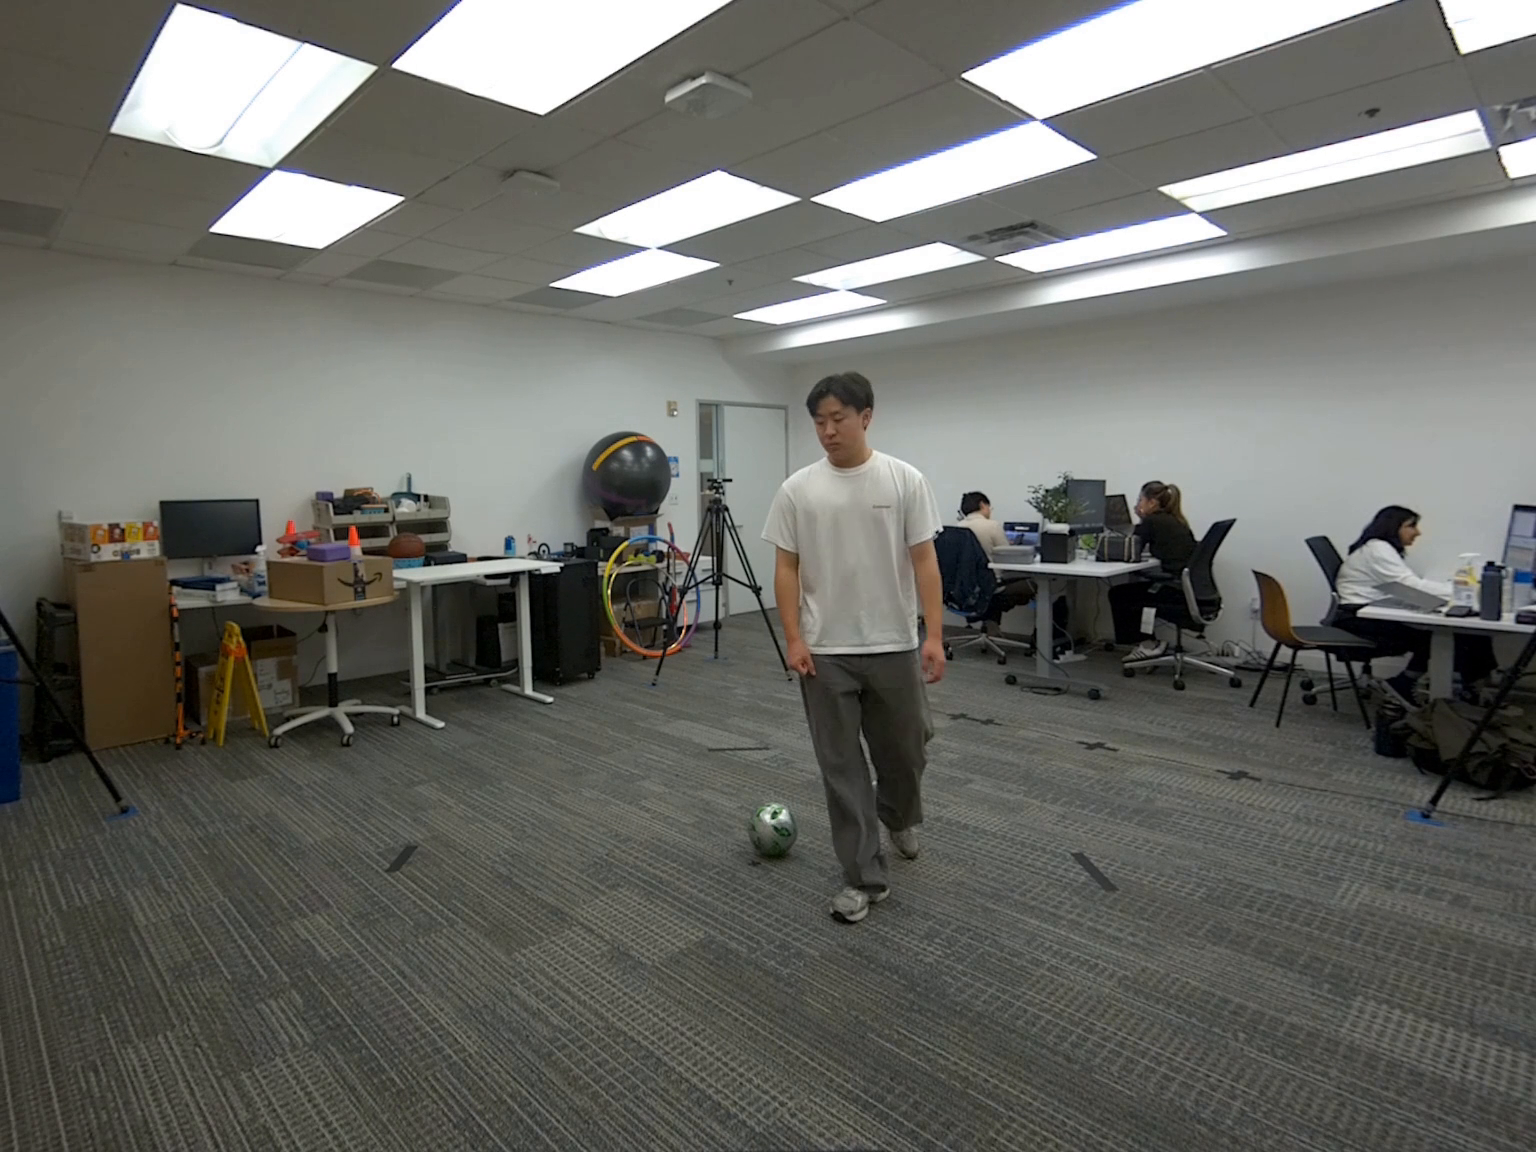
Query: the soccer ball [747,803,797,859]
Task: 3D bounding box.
[{"bbox_3d":[0.020,0.943,3.188,0.187,0.187,0.188,-1,5,-2],"label":"soccer ball"}]
